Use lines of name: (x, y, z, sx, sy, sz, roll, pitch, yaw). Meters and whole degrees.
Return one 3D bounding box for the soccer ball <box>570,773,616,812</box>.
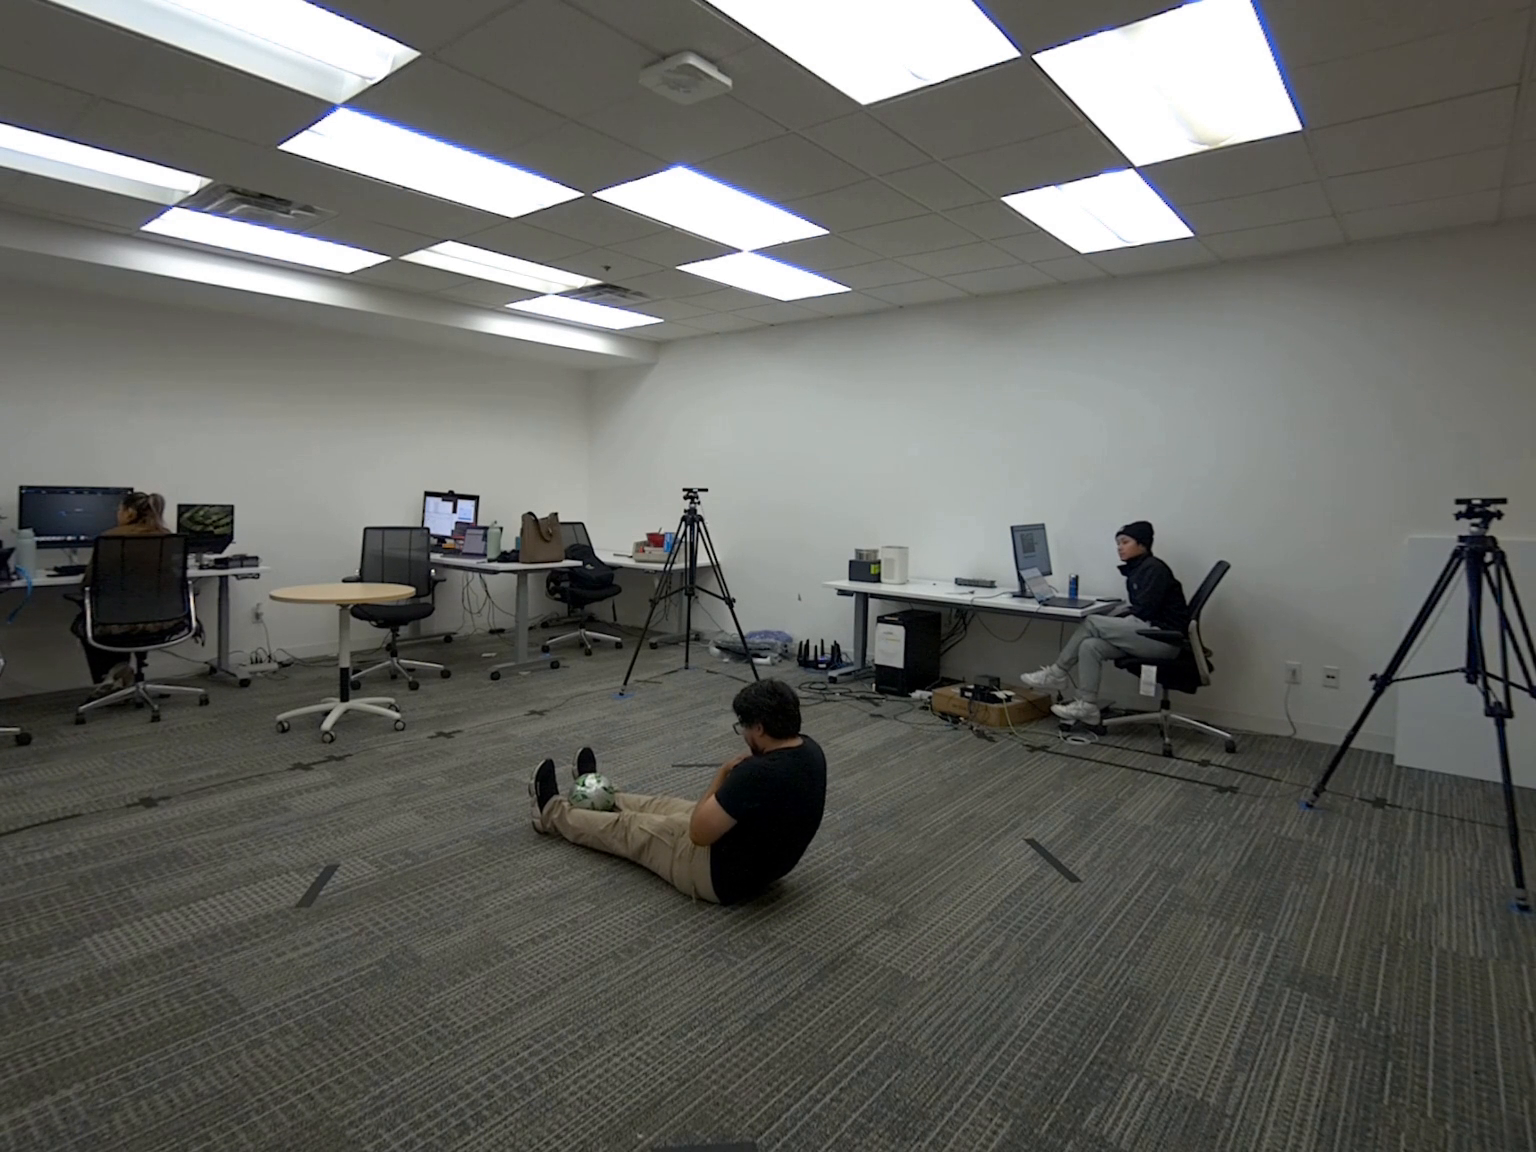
soccer ball: (-0.723, 0.889, 3.416, 0.187, 0.187, 0.188, 0, 4, -2)
